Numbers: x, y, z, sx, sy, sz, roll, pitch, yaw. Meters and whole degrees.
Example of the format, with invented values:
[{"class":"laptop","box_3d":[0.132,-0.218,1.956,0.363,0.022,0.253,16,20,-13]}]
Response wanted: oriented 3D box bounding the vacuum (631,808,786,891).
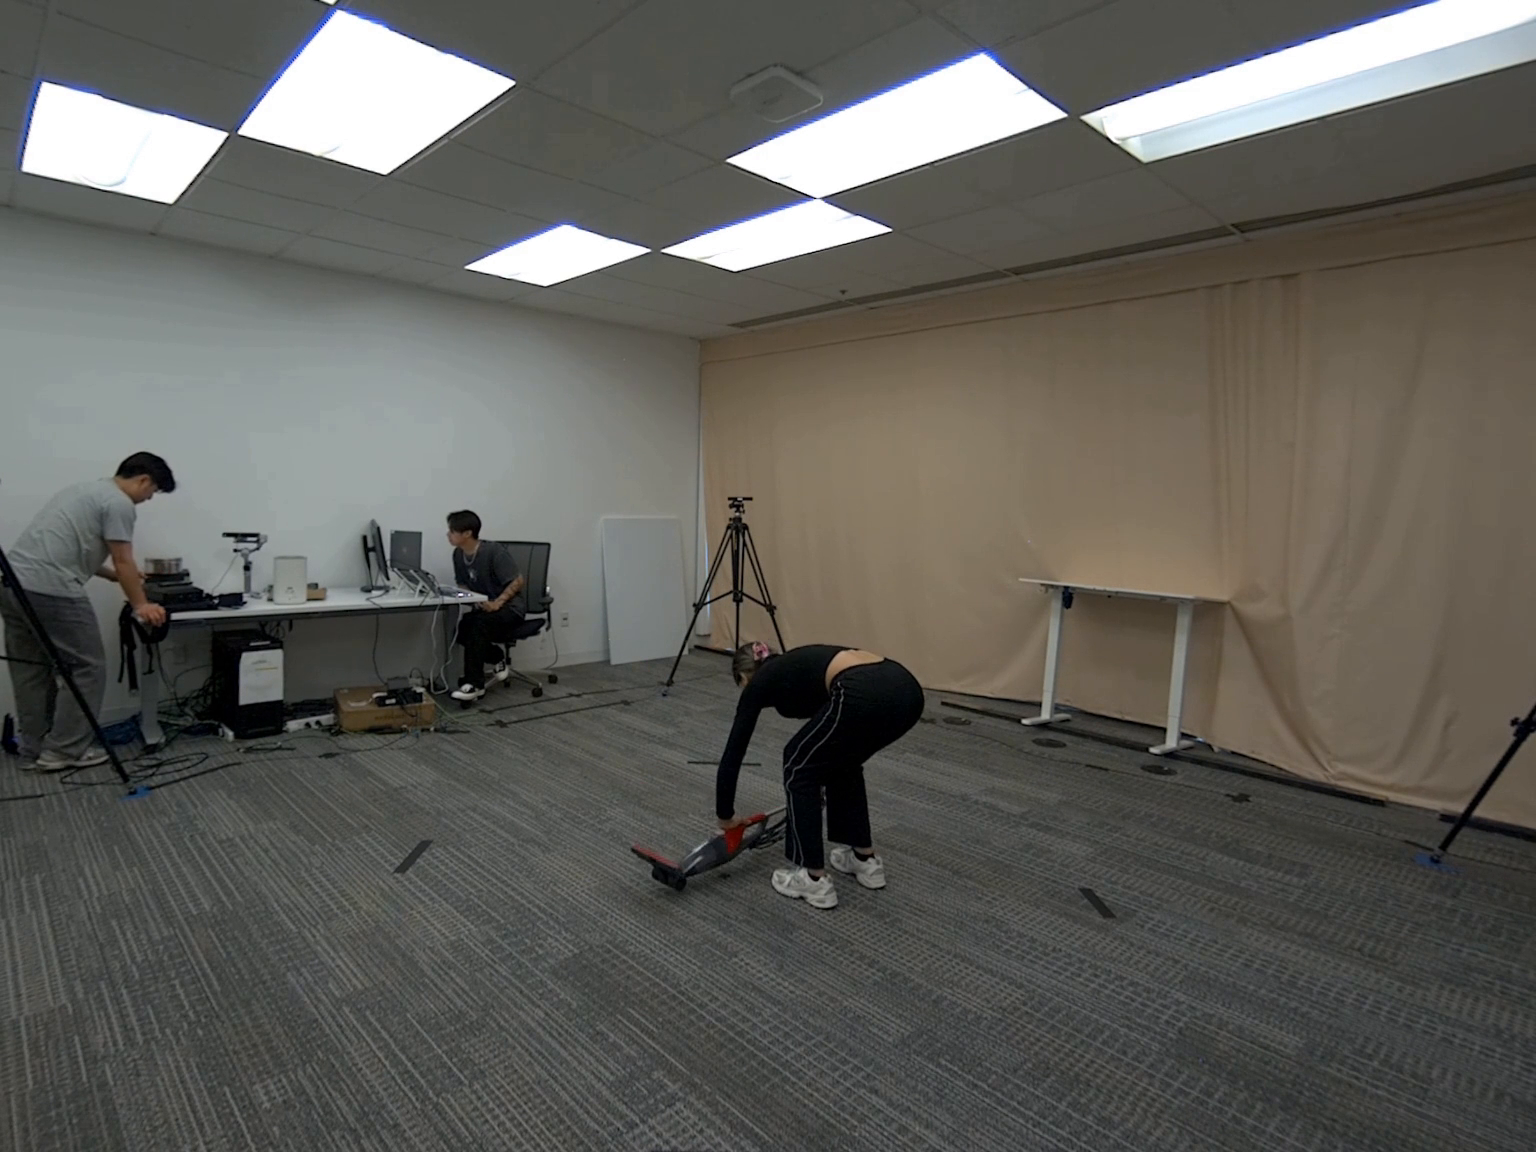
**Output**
[{"class":"vacuum","box_3d":[-0.029,0.977,3.286,0.259,0.143,1.026,6,8,43]}]
